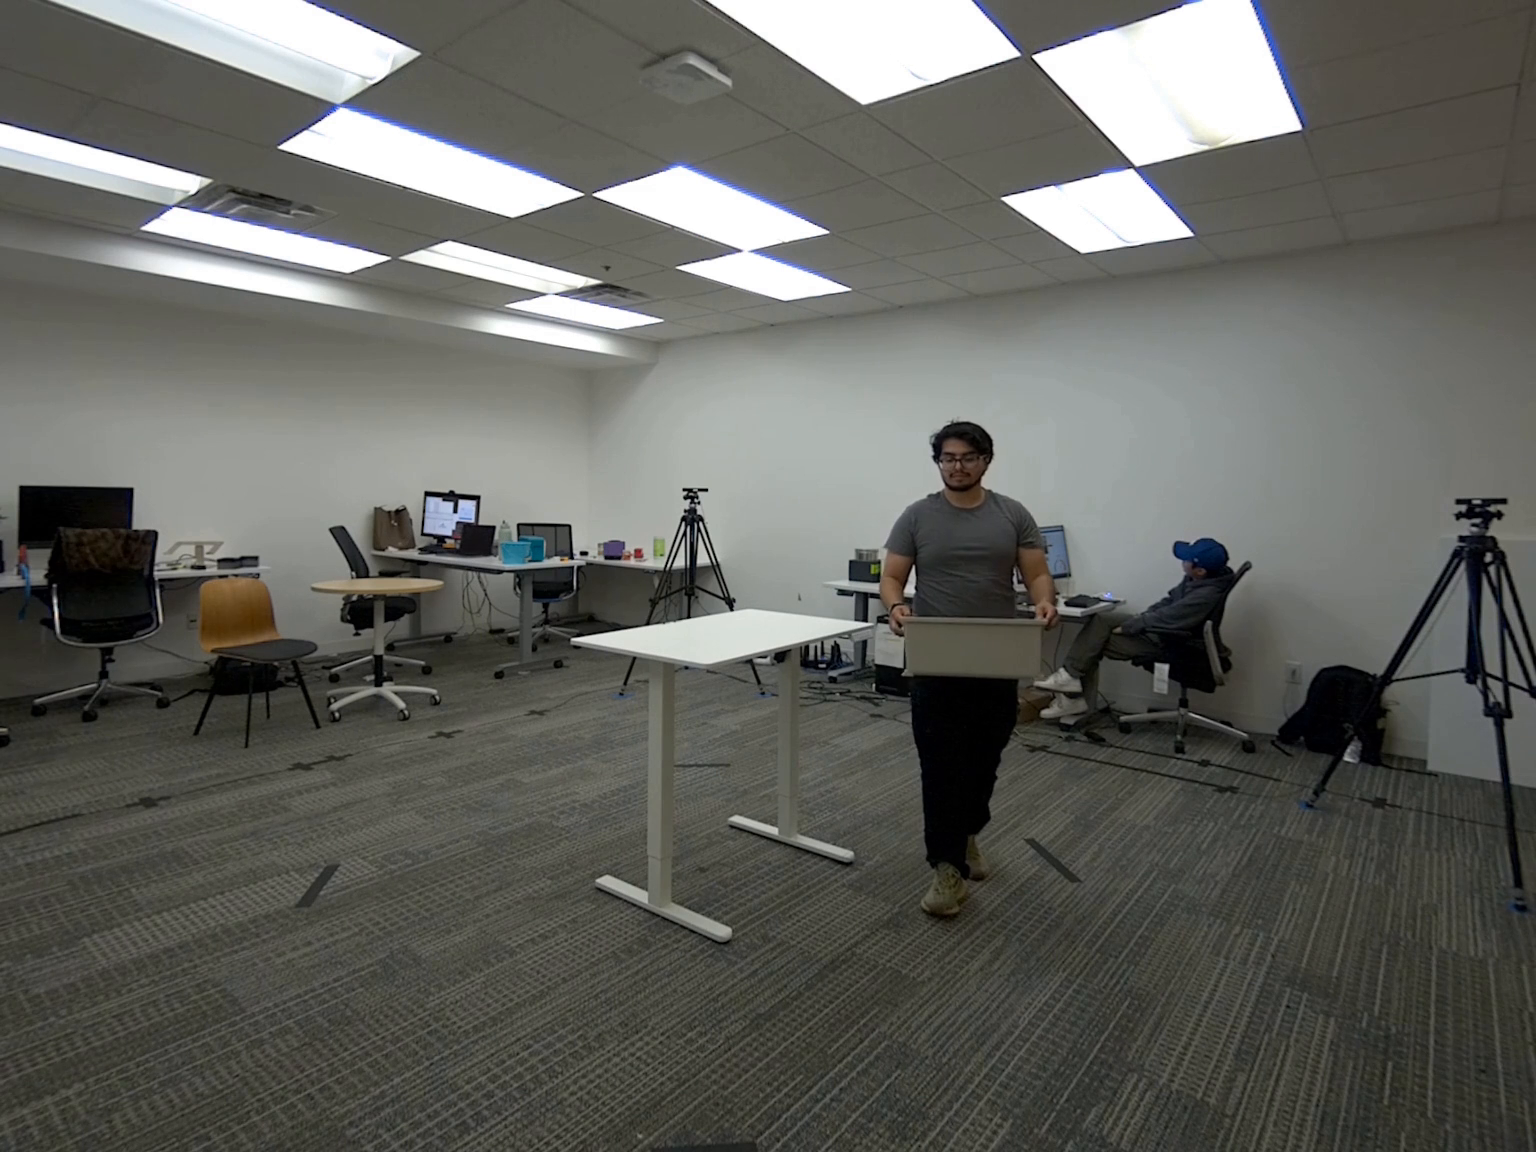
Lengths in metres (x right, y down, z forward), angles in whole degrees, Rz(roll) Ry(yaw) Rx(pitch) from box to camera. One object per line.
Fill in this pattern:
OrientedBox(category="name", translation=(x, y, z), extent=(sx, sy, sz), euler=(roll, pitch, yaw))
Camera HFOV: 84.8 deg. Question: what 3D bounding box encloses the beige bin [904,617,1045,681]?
OrientedBox(category="beige bin", translation=(0.654, 0.219, 2.709), extent=(0.431, 0.190, 0.369), euler=(2, -3, 18))
